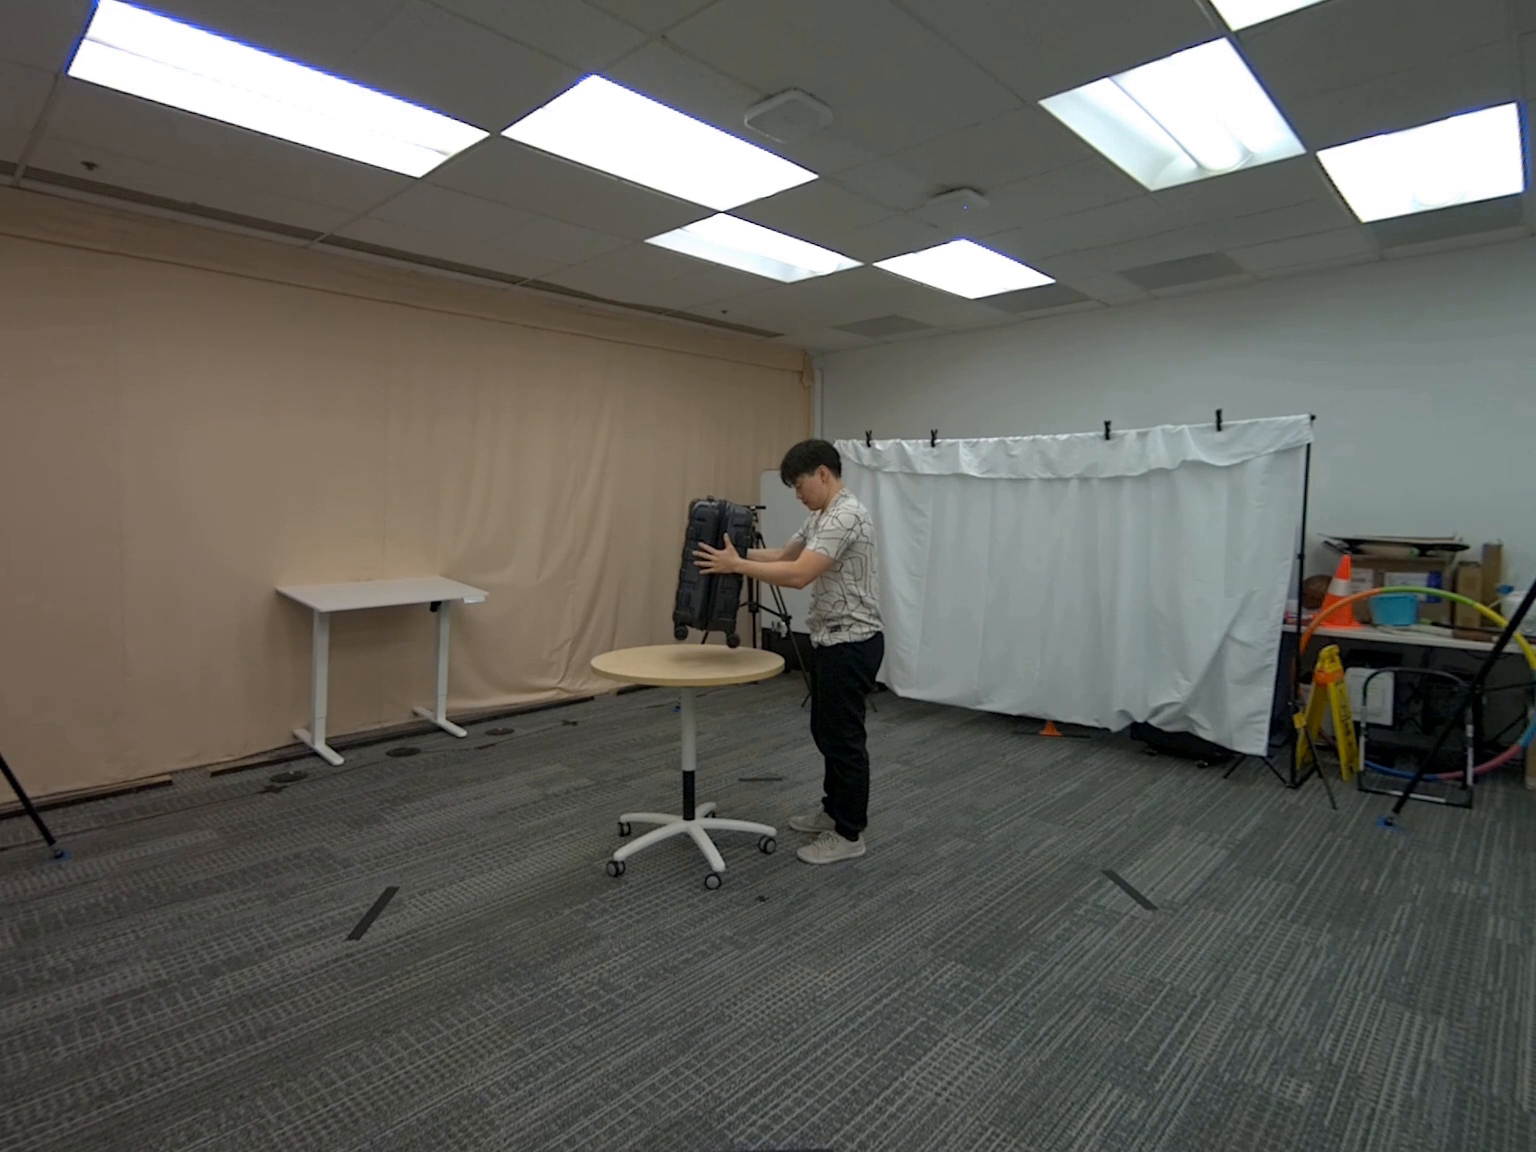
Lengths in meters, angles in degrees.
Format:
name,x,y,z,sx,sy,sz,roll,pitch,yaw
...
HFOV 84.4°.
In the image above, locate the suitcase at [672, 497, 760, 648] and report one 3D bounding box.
name,x,y,z,sx,sy,sz,roll,pitch,yaw
suitcase,-0.215,-0.035,3.340,0.248,0.548,0.376,7,4,-2
